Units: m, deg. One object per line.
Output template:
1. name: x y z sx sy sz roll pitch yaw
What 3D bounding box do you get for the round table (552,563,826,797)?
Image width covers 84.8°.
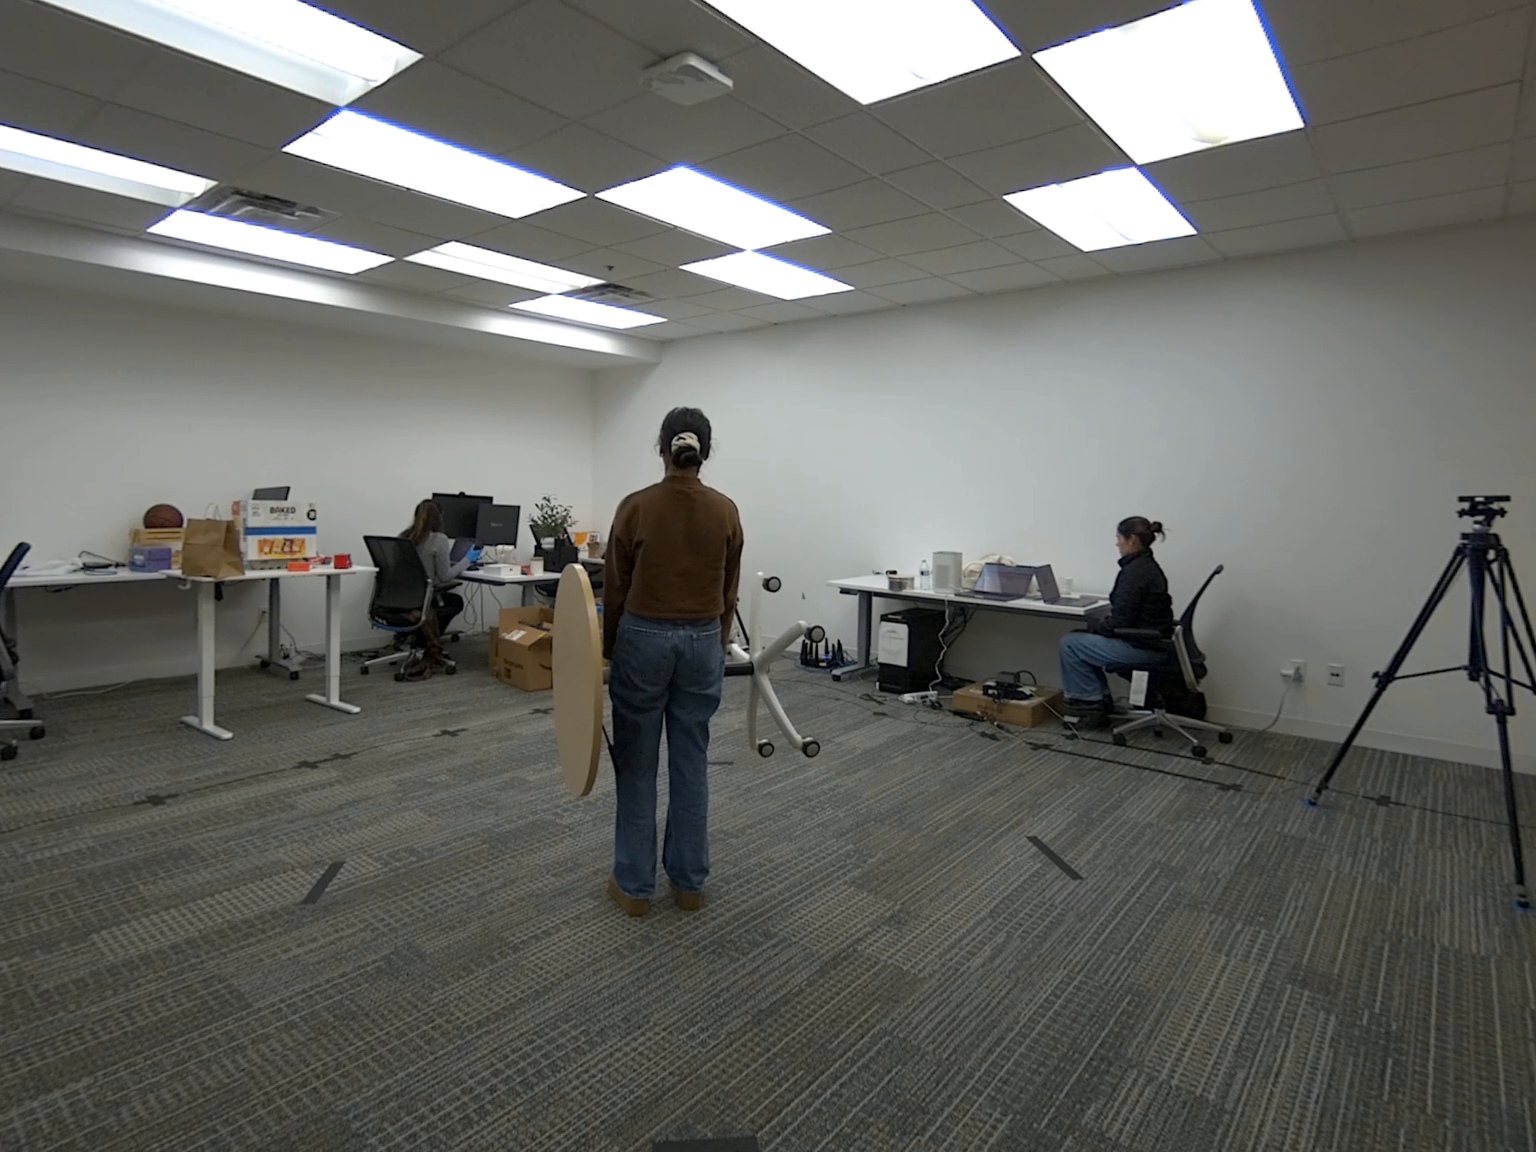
1. round table: -0.304 0.346 2.983 0.776 0.762 0.783 1 4 -22
